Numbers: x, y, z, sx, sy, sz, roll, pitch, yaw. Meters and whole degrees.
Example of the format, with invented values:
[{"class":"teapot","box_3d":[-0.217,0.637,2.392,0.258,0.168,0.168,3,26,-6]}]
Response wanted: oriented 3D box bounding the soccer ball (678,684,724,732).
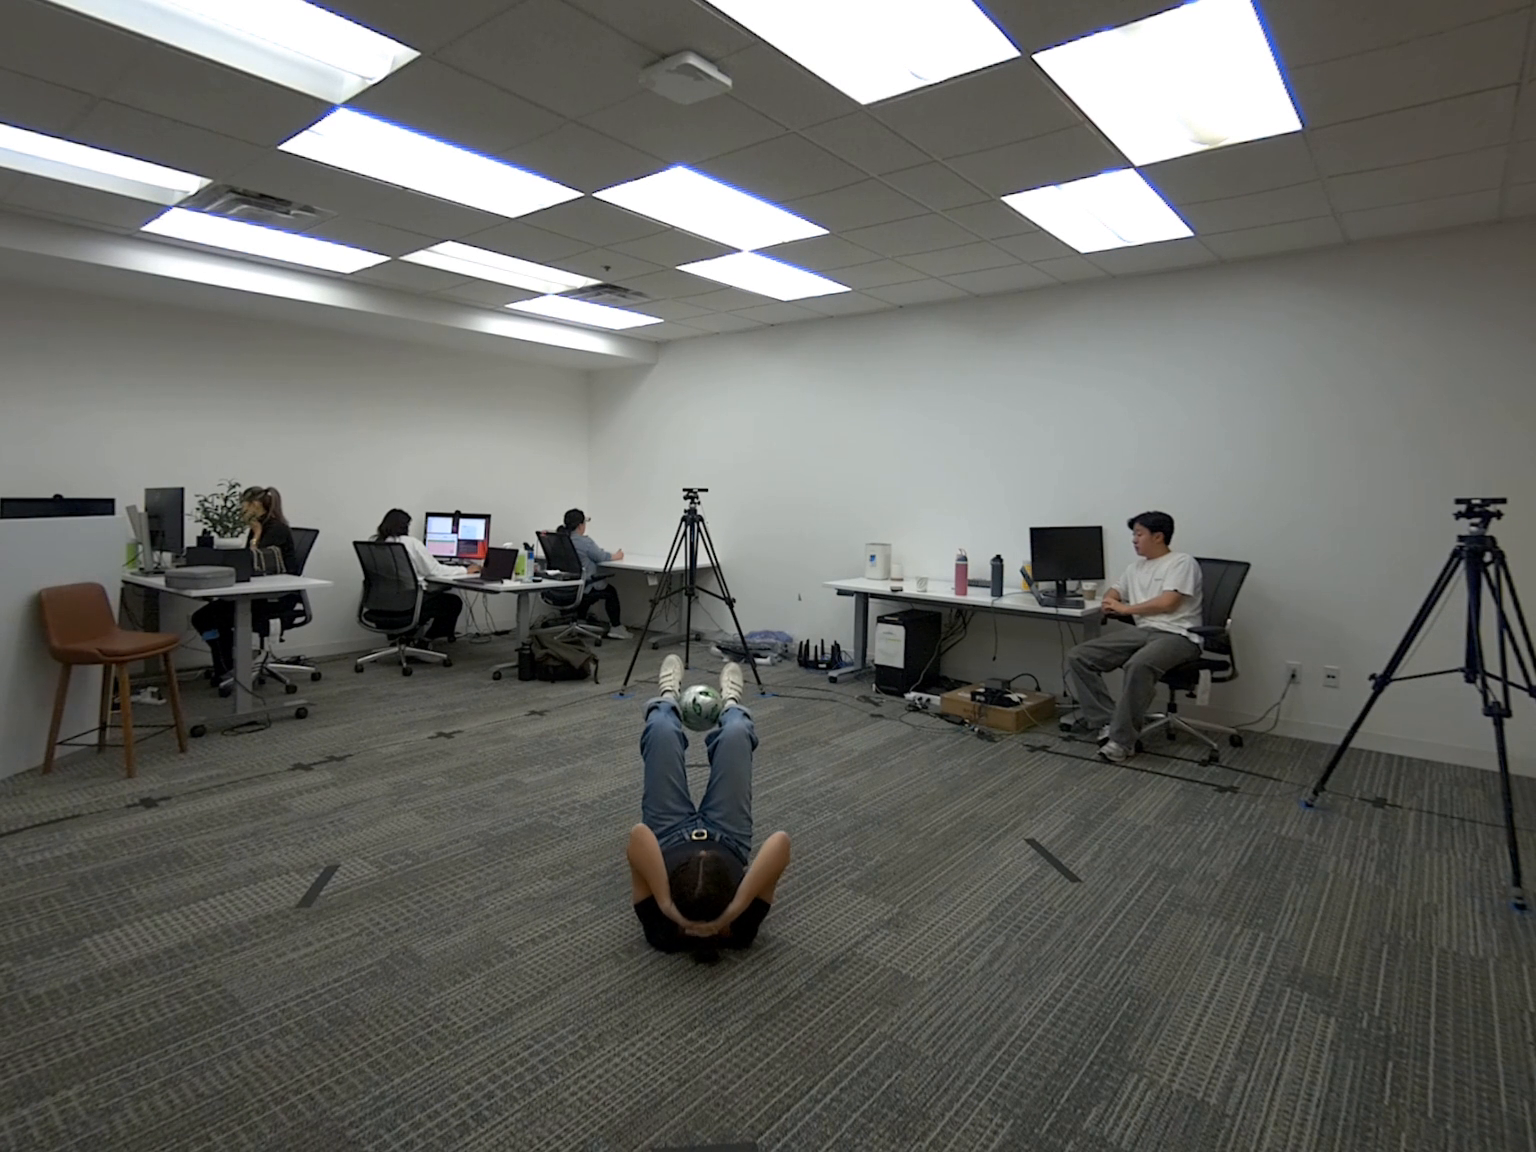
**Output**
[{"class":"soccer ball","box_3d":[-0.277,0.520,3.409,0.187,0.187,0.188,-3,4,-2]}]
